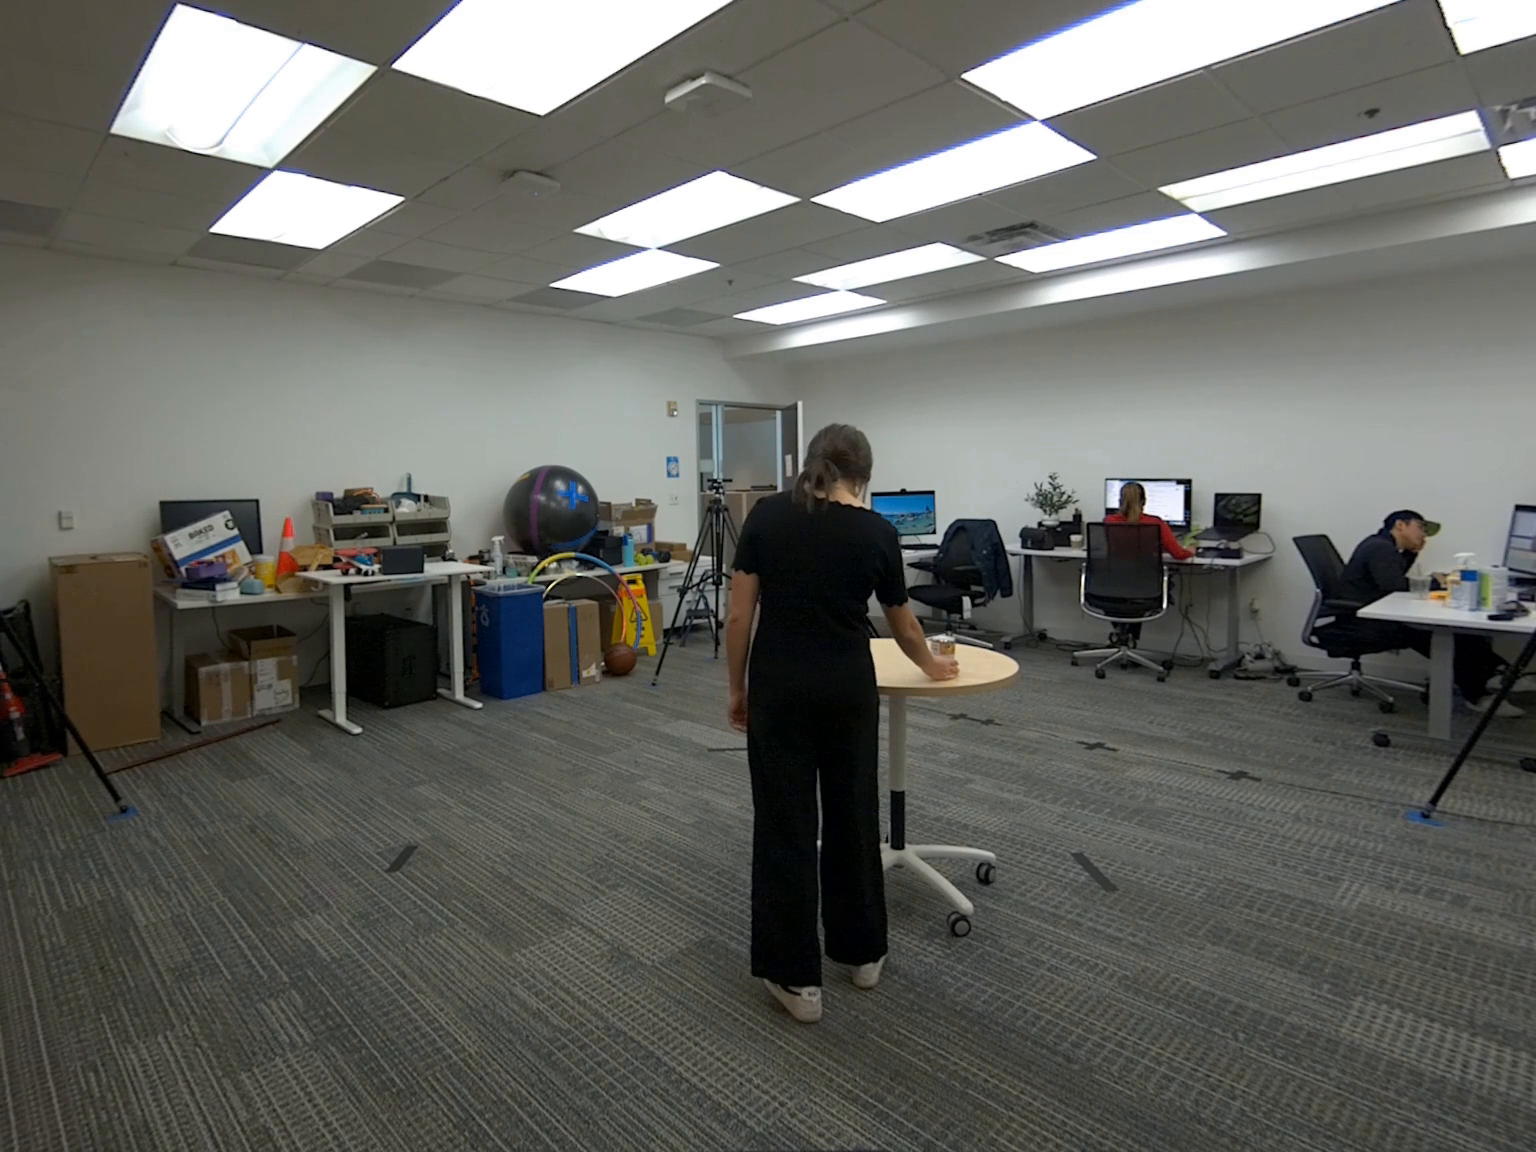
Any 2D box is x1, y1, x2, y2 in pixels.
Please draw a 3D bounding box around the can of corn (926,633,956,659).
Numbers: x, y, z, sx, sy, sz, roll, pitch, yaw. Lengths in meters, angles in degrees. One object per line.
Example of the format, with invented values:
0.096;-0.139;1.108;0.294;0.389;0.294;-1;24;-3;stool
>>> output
0.551;0.250;2.638;0.074;0.110;0.075;3;8;-2;can of corn
